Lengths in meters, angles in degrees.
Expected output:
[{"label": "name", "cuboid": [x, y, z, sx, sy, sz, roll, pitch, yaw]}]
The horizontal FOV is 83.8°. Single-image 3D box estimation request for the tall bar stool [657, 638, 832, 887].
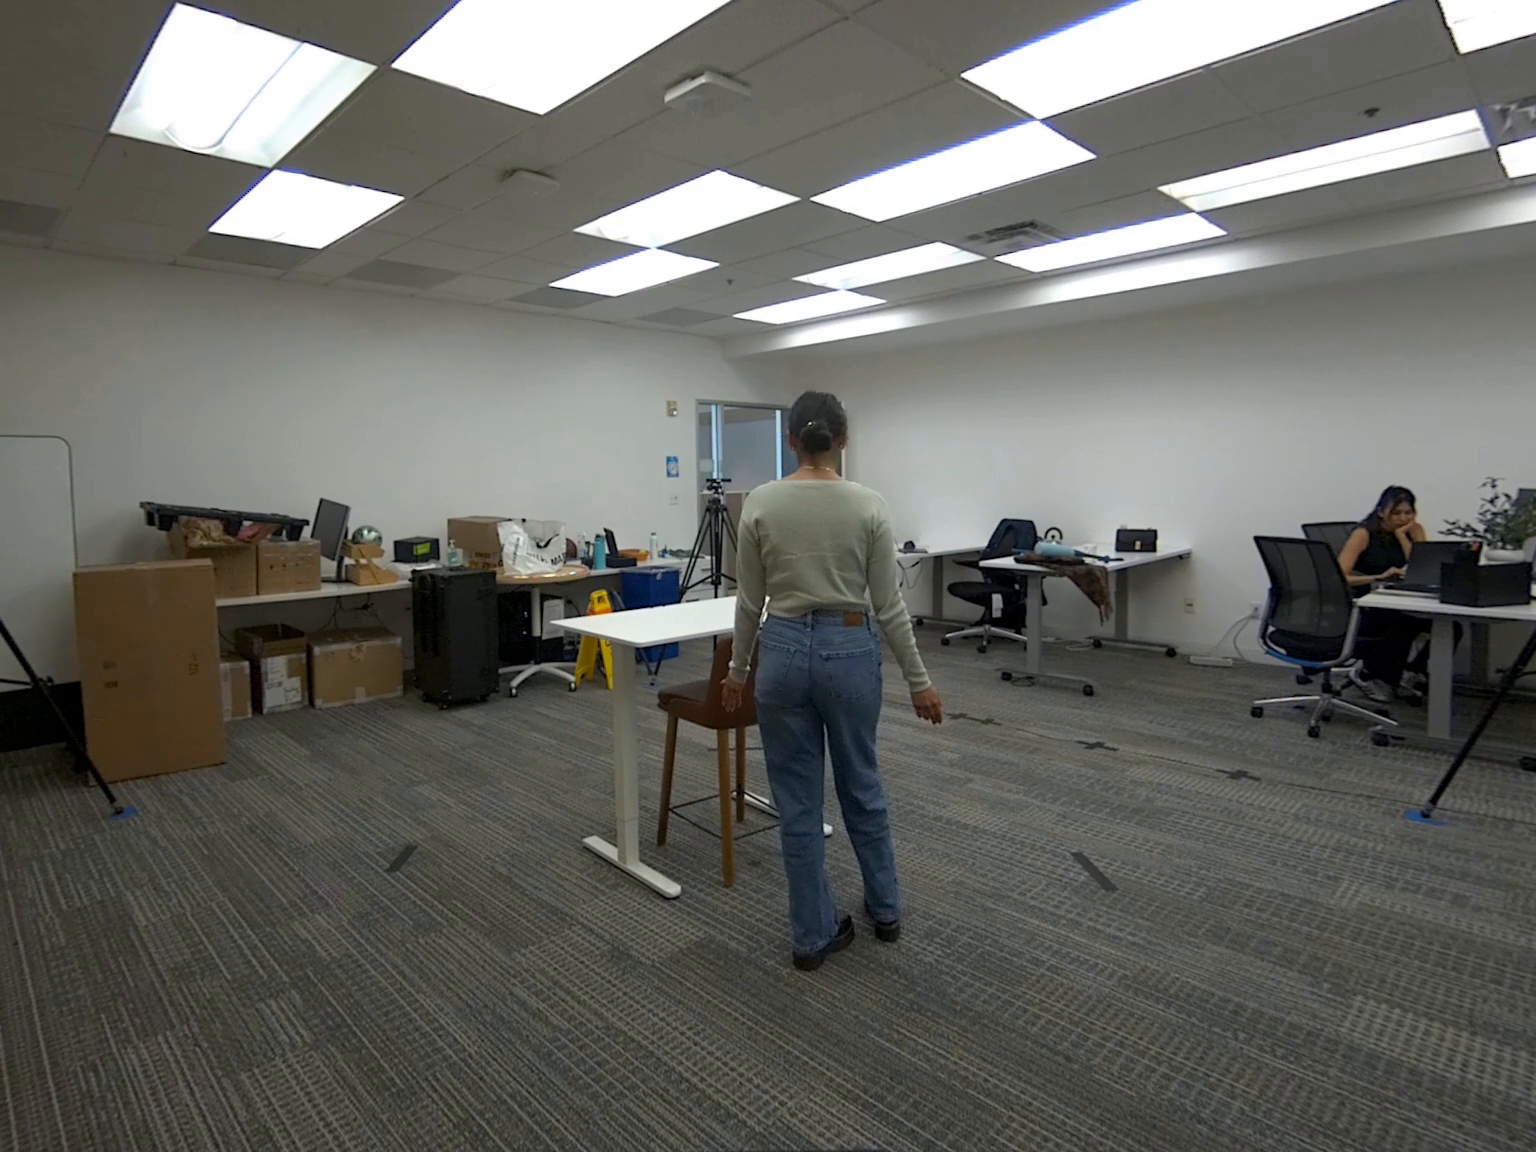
[{"label": "tall bar stool", "cuboid": [-0.131, 0.604, 3.176, 0.444, 0.886, 0.482, -3, 7, -37]}]
